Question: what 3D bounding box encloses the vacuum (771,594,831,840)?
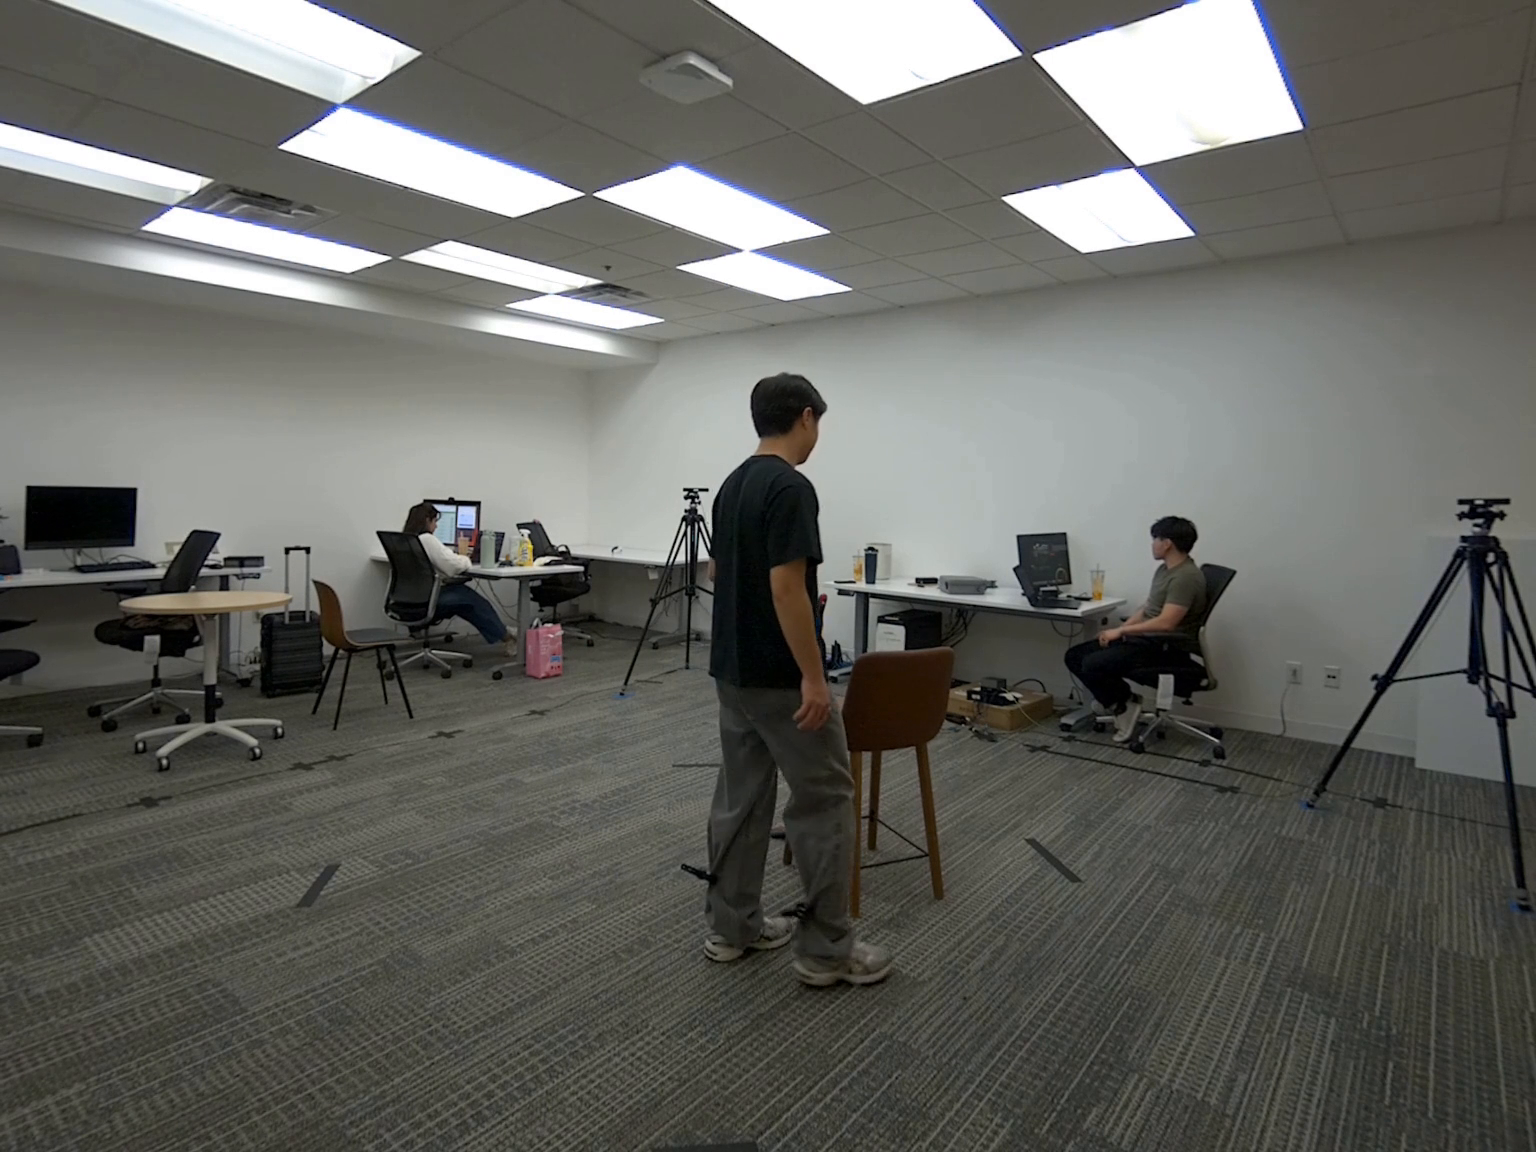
[{"bbox_3d":[0.156,0.553,3.231,0.251,1.031,0.147,1,20,-7],"label":"vacuum"}]
